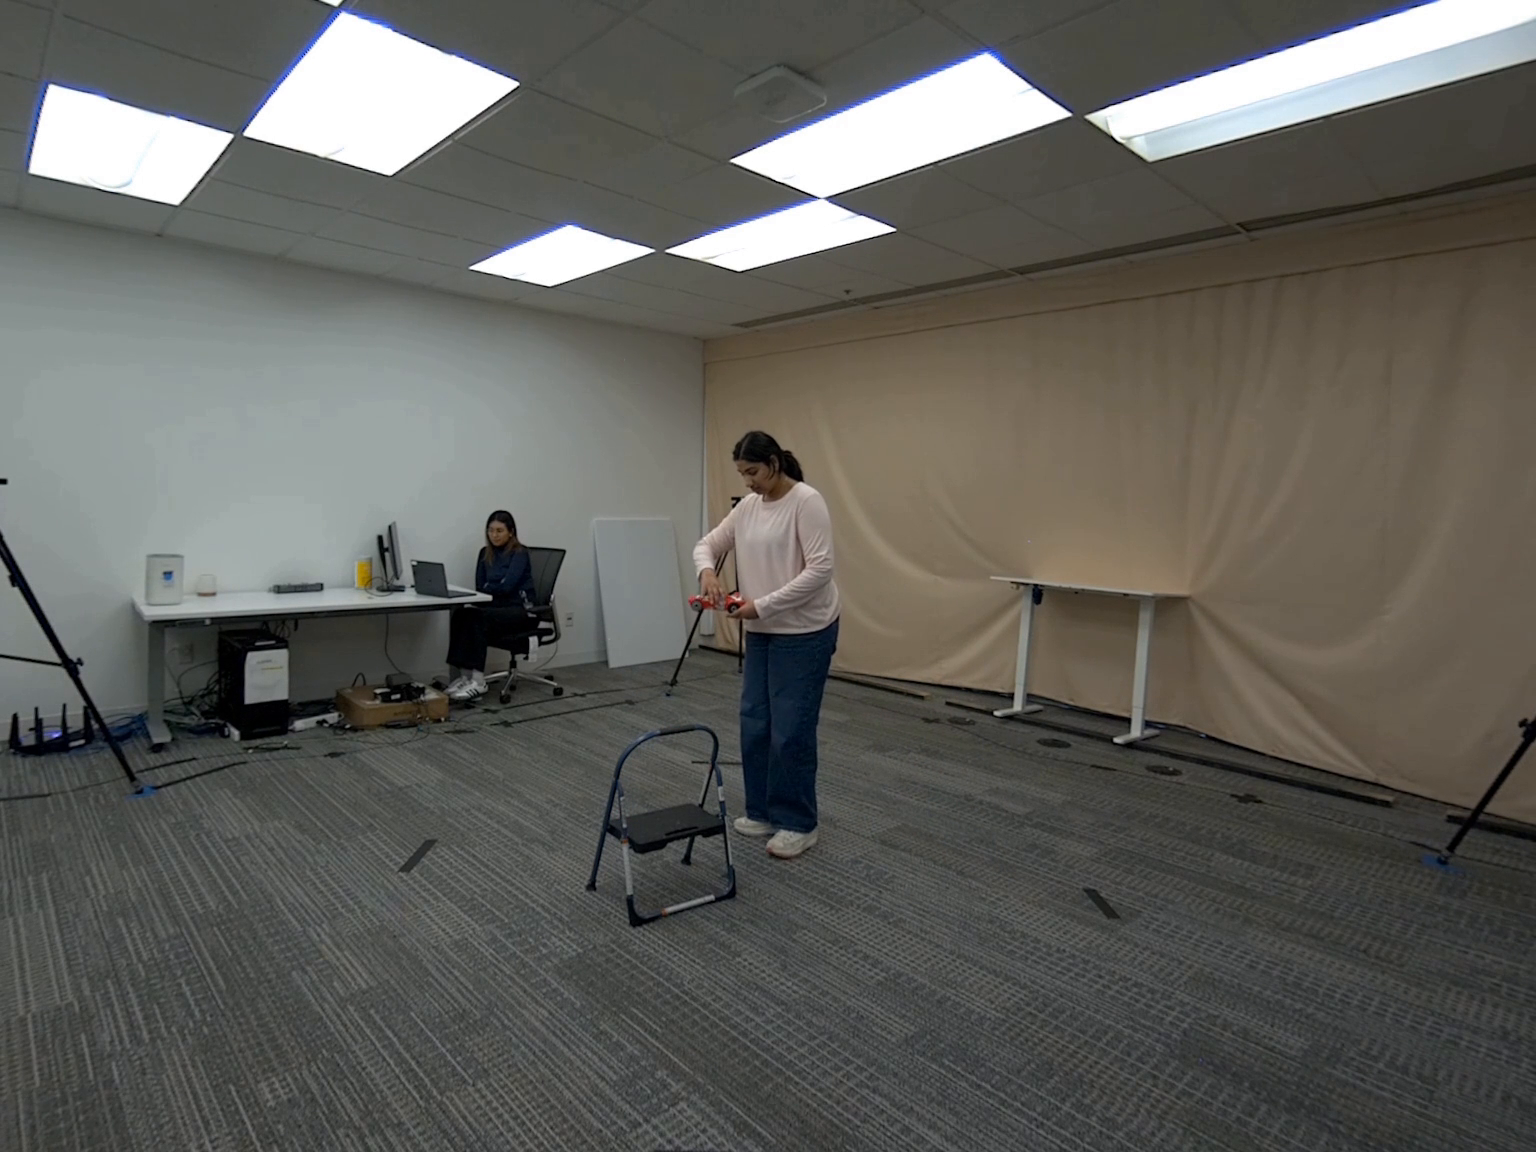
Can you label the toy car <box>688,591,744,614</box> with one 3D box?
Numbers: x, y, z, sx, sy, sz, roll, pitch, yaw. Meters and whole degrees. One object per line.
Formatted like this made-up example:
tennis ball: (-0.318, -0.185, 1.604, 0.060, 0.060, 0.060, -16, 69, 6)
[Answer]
toy car: (-0.188, 0.113, 3.296, 0.254, 0.083, 0.131, -6, 2, -3)
